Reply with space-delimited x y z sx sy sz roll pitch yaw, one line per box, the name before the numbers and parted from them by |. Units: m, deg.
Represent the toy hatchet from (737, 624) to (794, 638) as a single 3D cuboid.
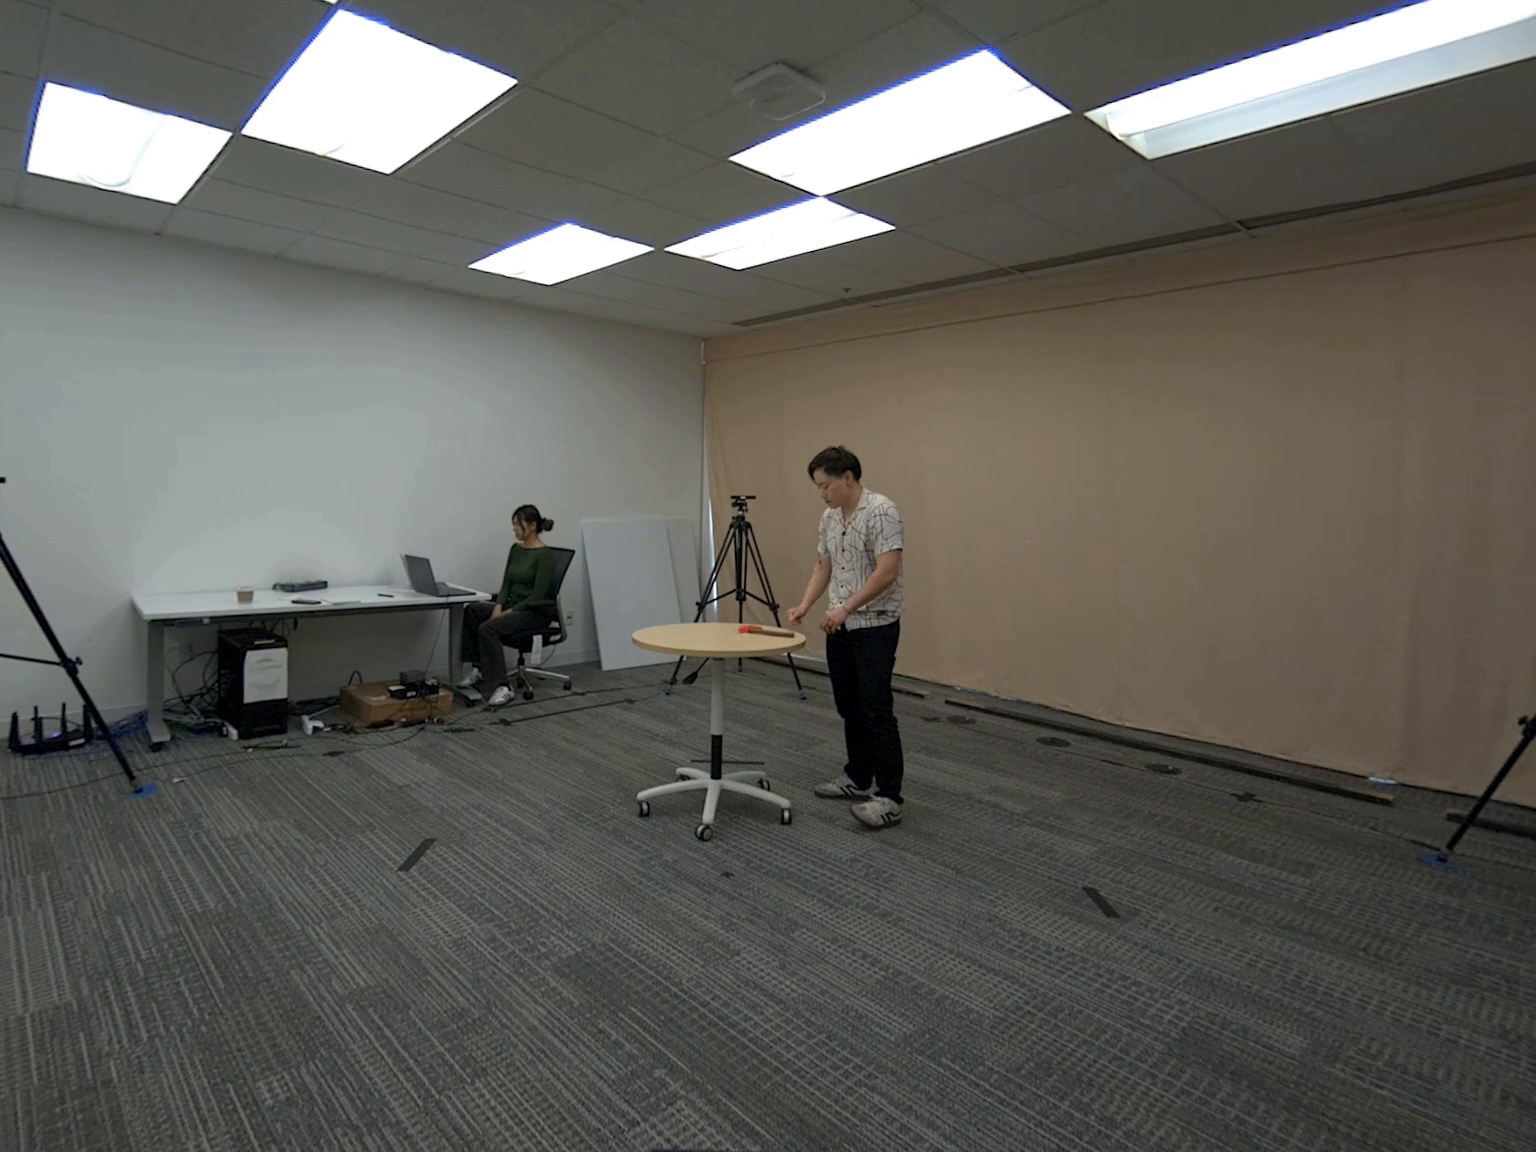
toy hatchet | 0.000 0.247 3.796 0.274 0.029 0.129 4 5 19
